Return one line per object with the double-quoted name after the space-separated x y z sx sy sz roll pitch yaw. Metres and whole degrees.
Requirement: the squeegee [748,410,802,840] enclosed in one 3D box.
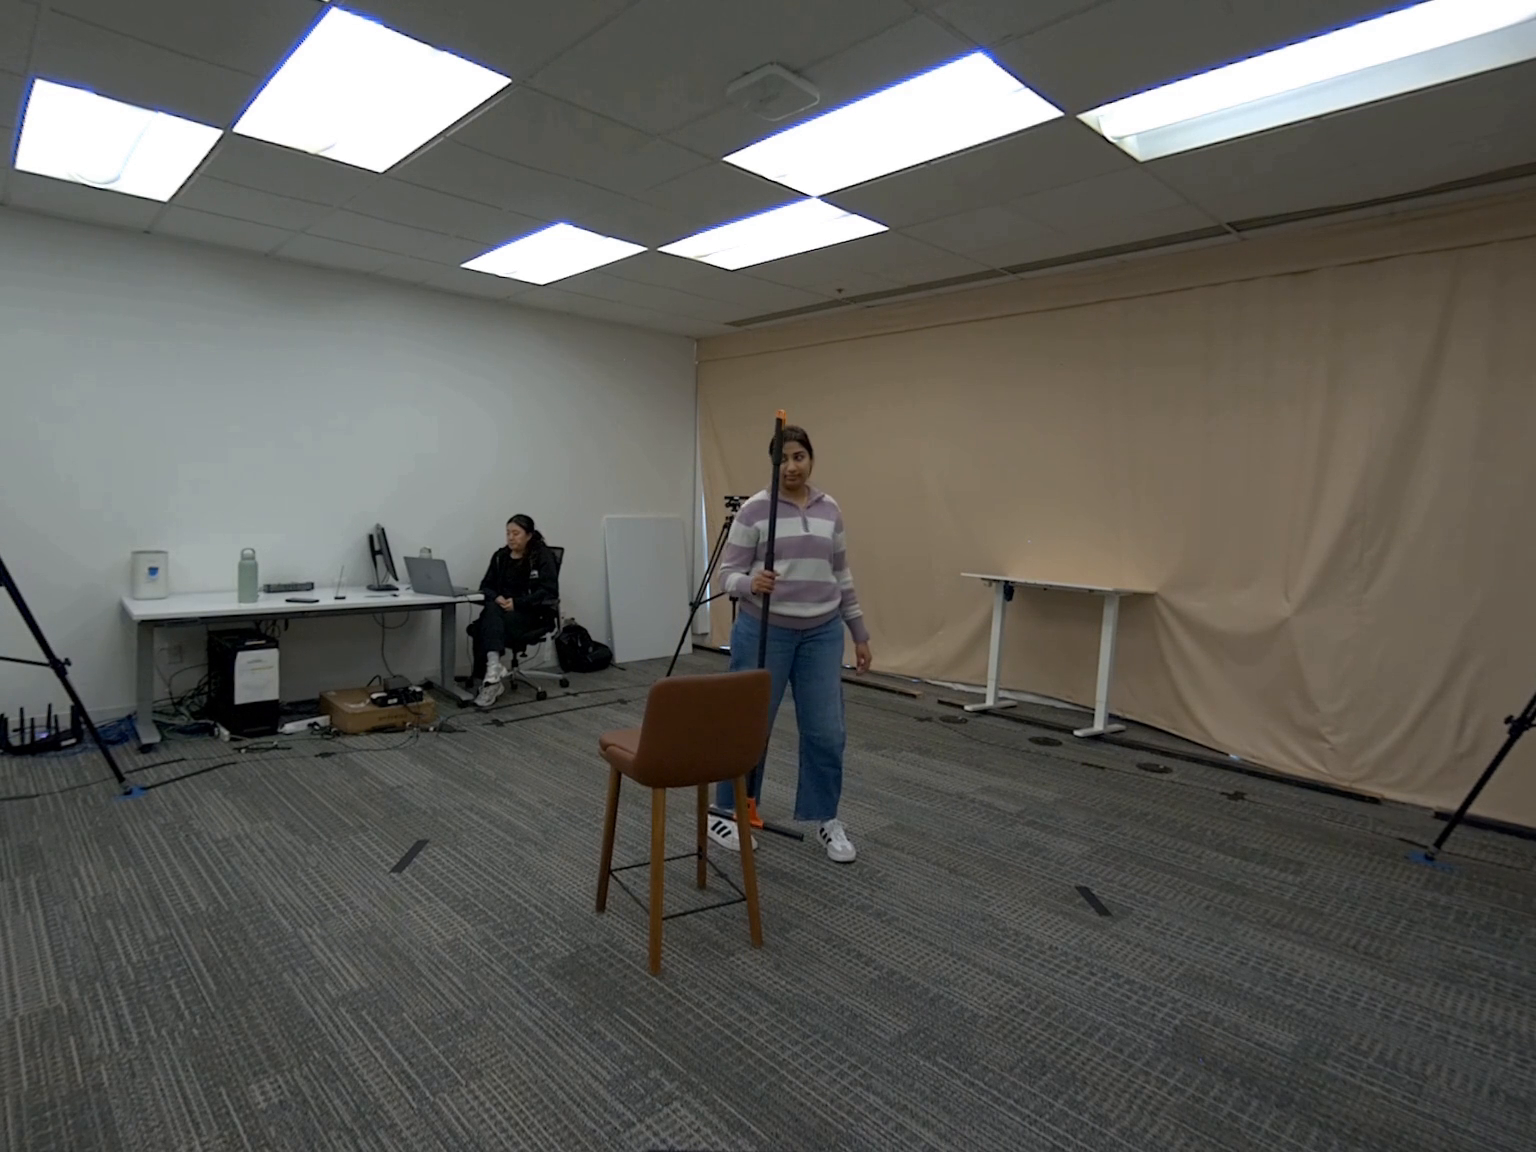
-0.033 0.177 3.050 0.433 1.532 0.053 2 5 -12 "squeegee"
